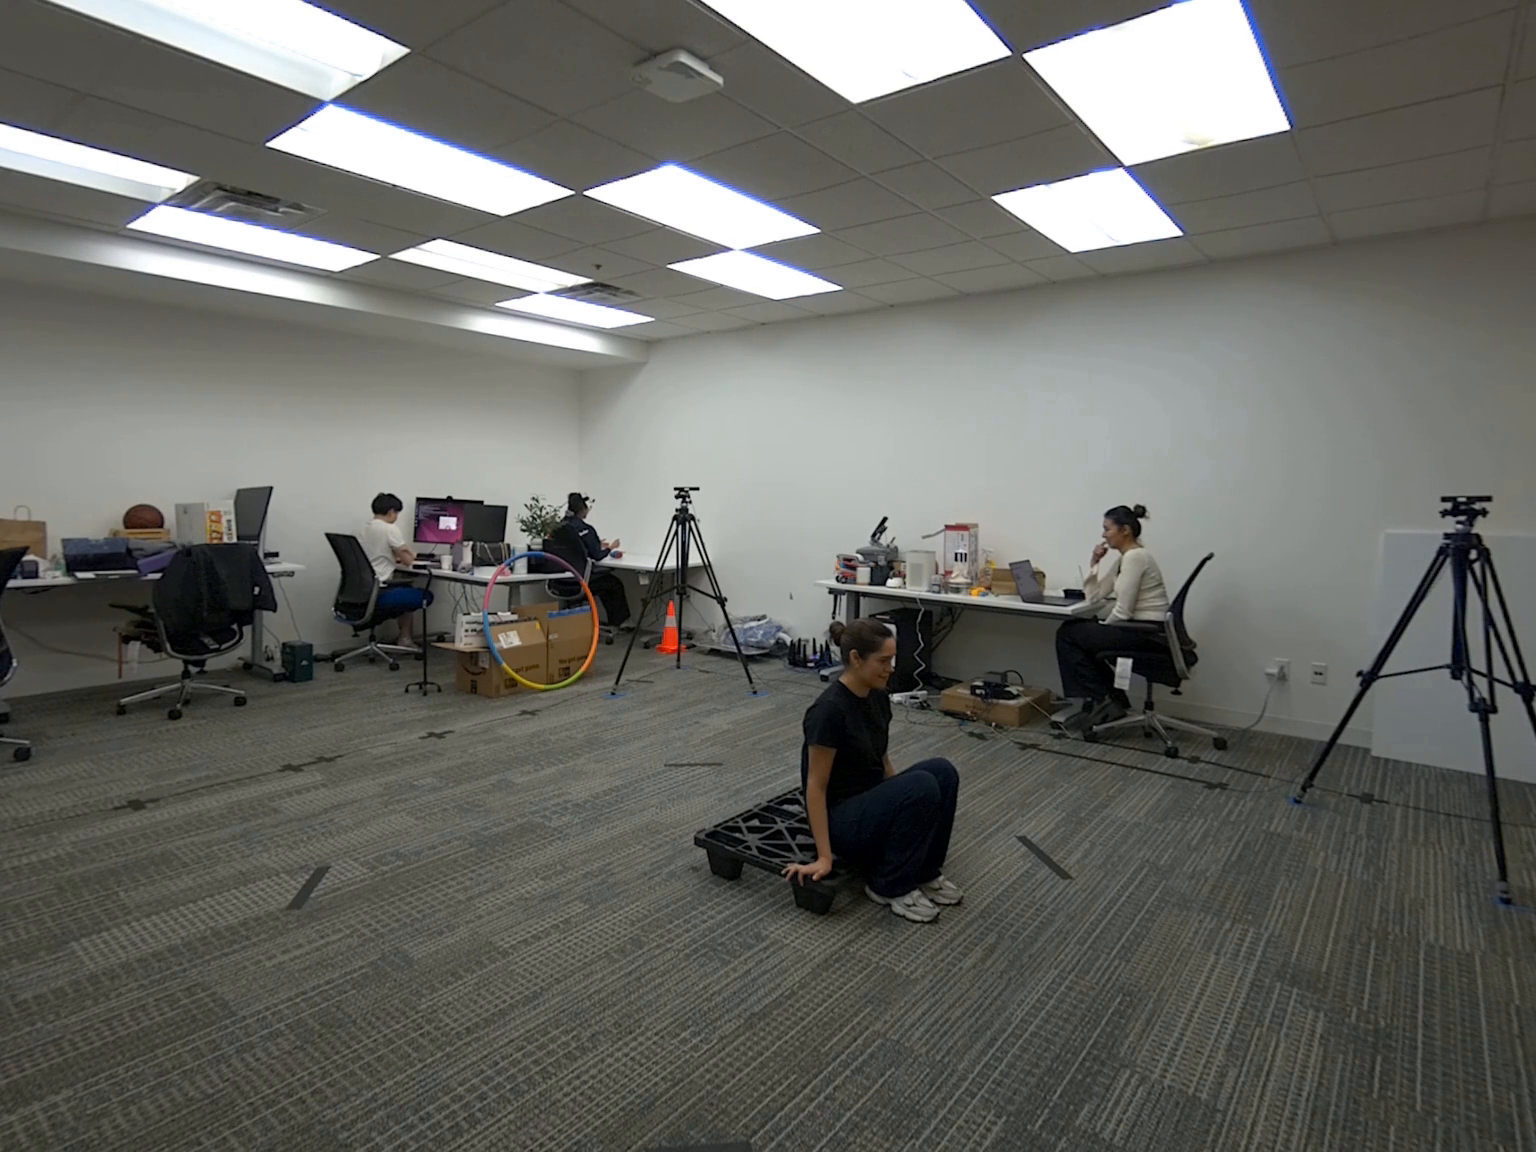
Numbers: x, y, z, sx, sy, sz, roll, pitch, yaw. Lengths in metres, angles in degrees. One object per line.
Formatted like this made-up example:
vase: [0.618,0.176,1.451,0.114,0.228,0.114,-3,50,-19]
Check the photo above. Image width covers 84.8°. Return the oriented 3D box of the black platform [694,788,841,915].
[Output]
black platform: [0.203,0.995,3.211,0.625,0.143,0.782,5,6,38]
